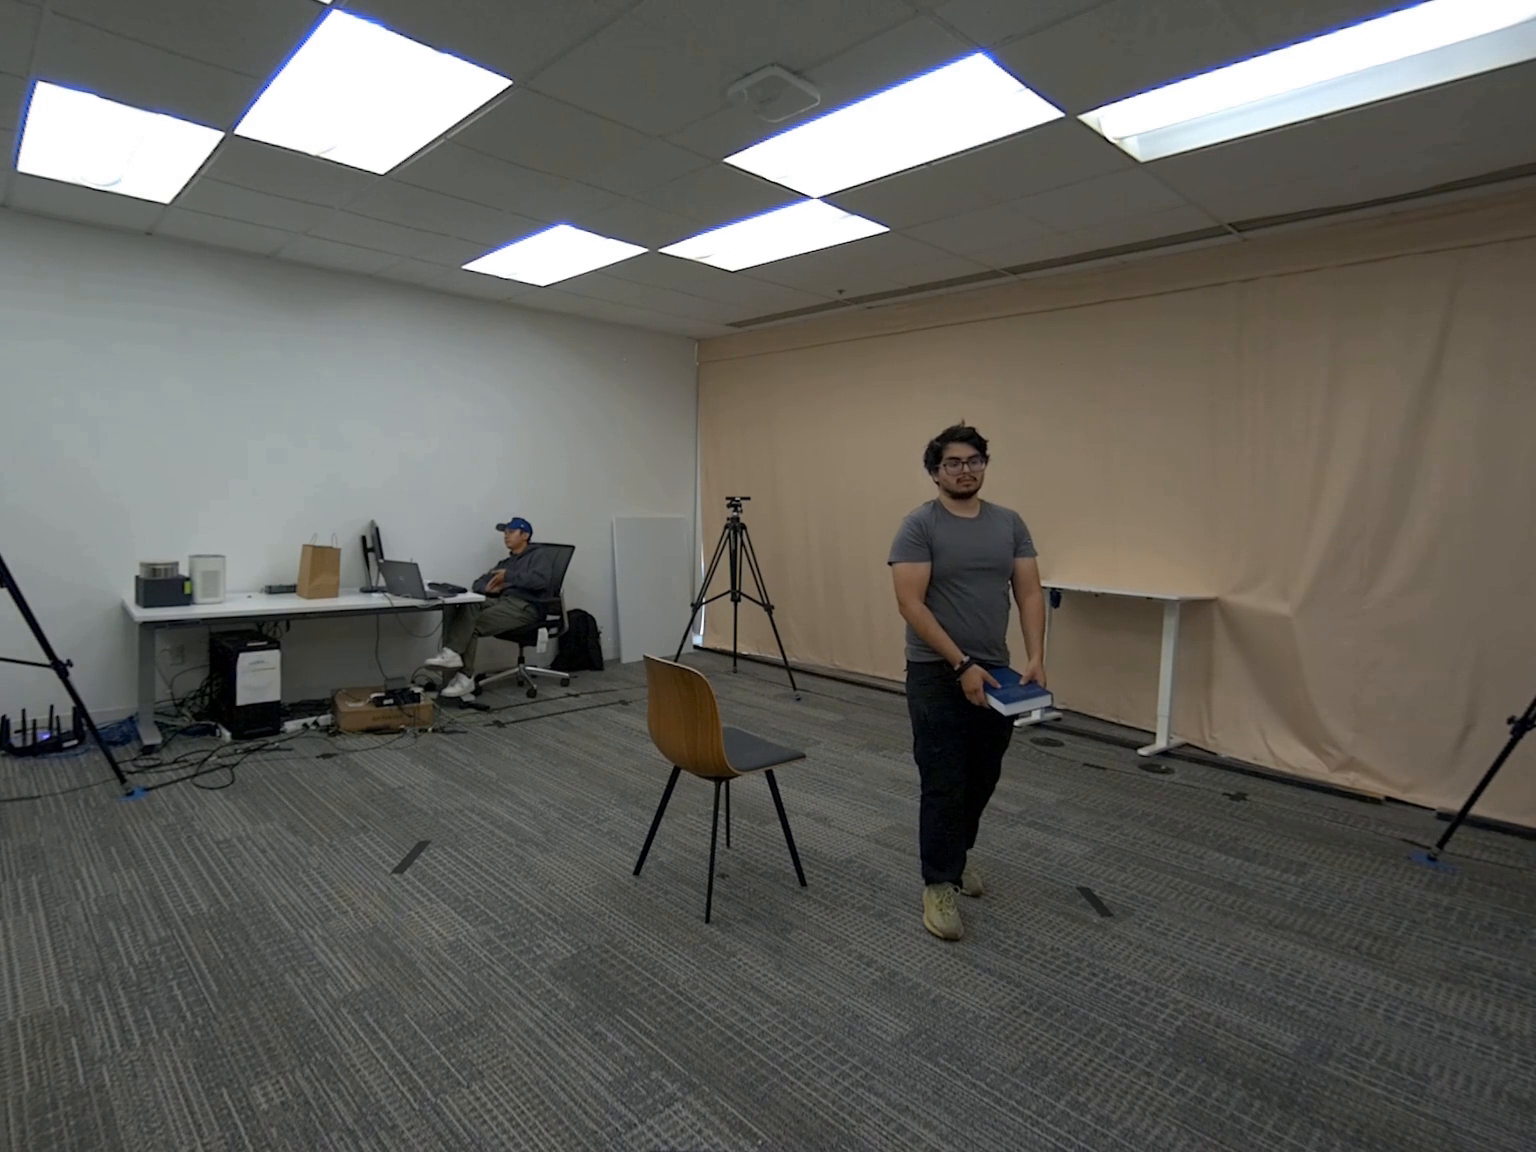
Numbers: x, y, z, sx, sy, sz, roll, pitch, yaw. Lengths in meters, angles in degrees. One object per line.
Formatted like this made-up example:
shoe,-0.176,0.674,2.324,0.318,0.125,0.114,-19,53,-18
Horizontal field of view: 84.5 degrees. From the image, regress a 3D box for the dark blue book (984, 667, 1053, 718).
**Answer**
dark blue book,0.739,0.359,2.617,0.162,0.045,0.249,-11,13,-12
